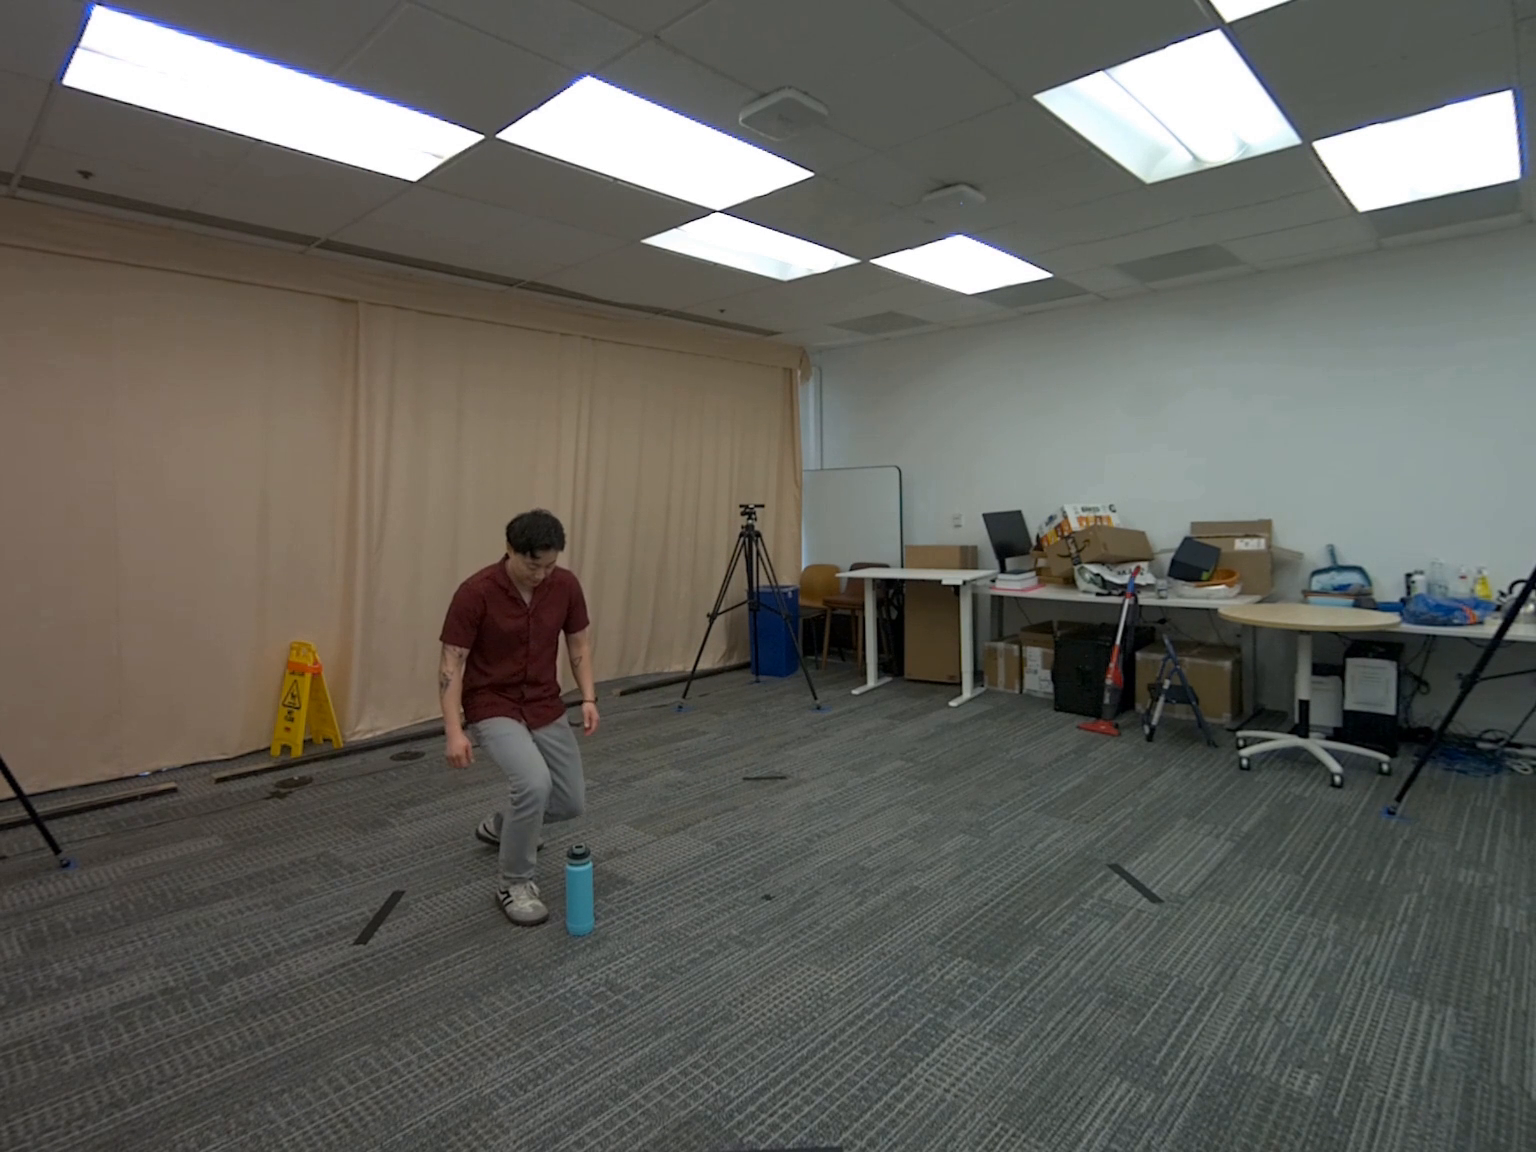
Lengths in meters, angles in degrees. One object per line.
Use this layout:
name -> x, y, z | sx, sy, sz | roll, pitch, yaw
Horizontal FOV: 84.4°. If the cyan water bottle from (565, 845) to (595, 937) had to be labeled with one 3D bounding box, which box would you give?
cyan water bottle -> -0.627, 1.034, 2.779 | 0.092, 0.283, 0.092 | -1, 2, -2
